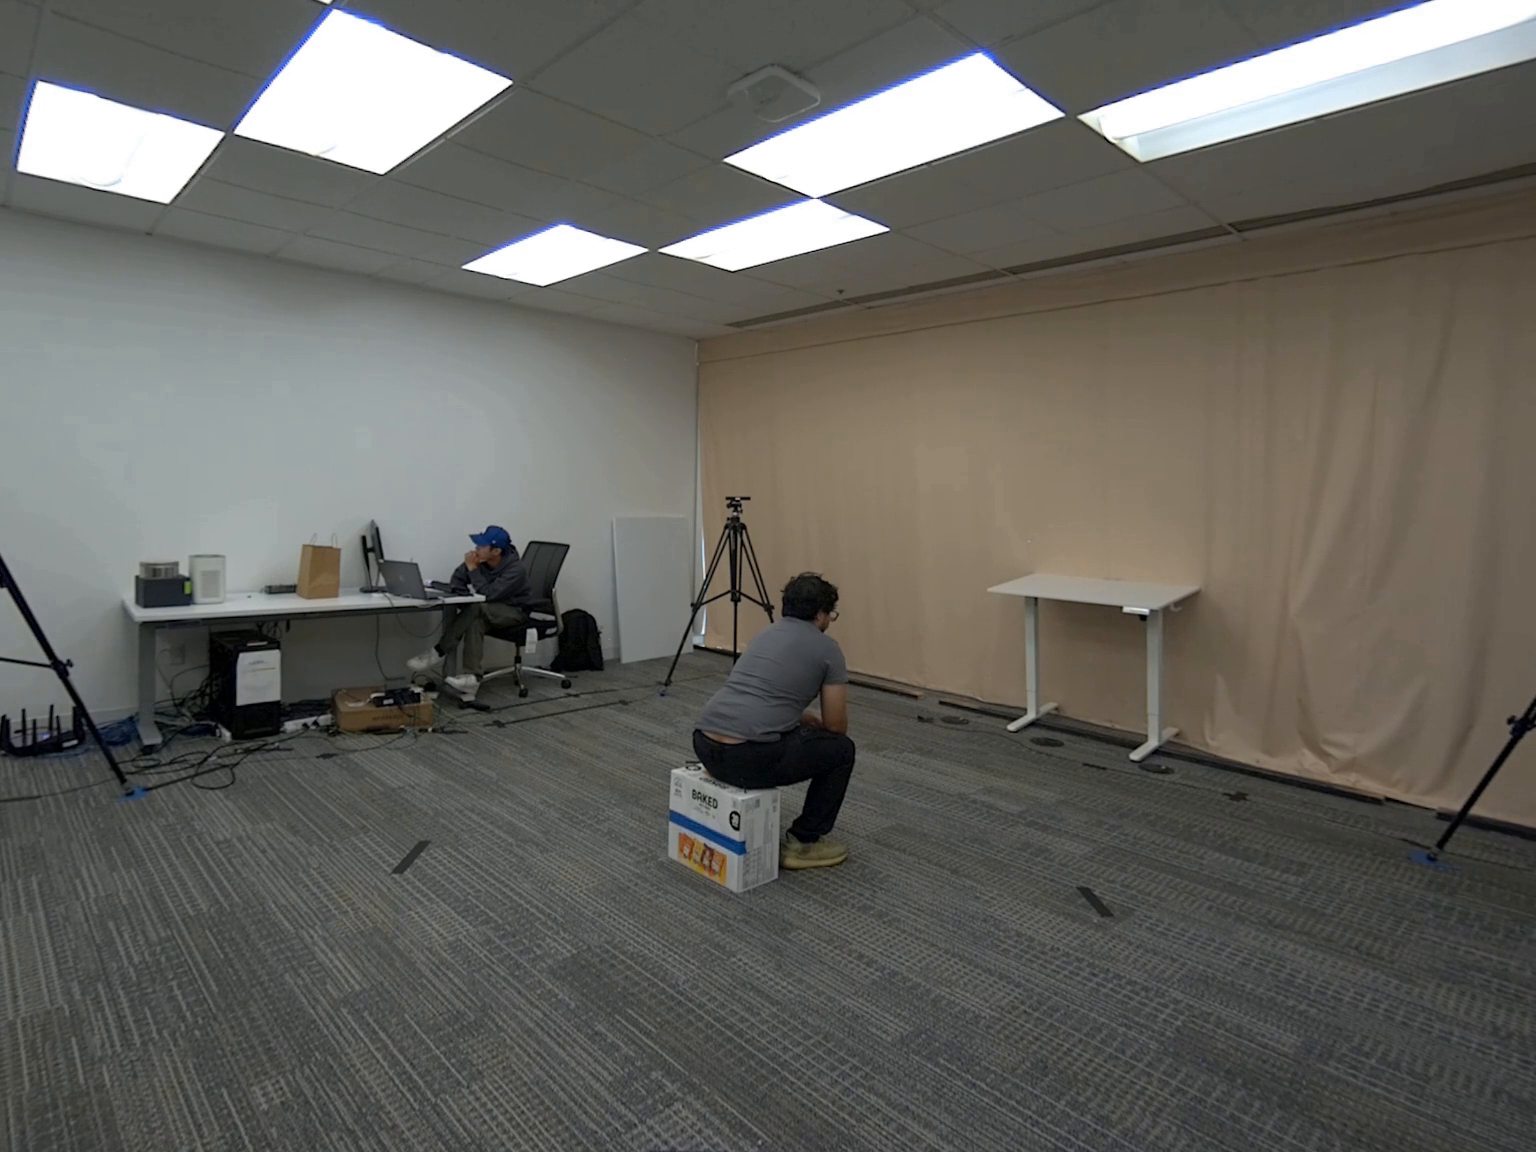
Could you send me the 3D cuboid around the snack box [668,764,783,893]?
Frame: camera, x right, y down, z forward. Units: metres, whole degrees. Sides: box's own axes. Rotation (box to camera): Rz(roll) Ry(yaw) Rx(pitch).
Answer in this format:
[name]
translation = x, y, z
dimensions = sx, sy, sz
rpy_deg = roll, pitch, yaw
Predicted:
[snack box]
translation = -0.178, 0.934, 3.165
dimensions = 0.201, 0.339, 0.416
rpy_deg = -1, 5, -44
